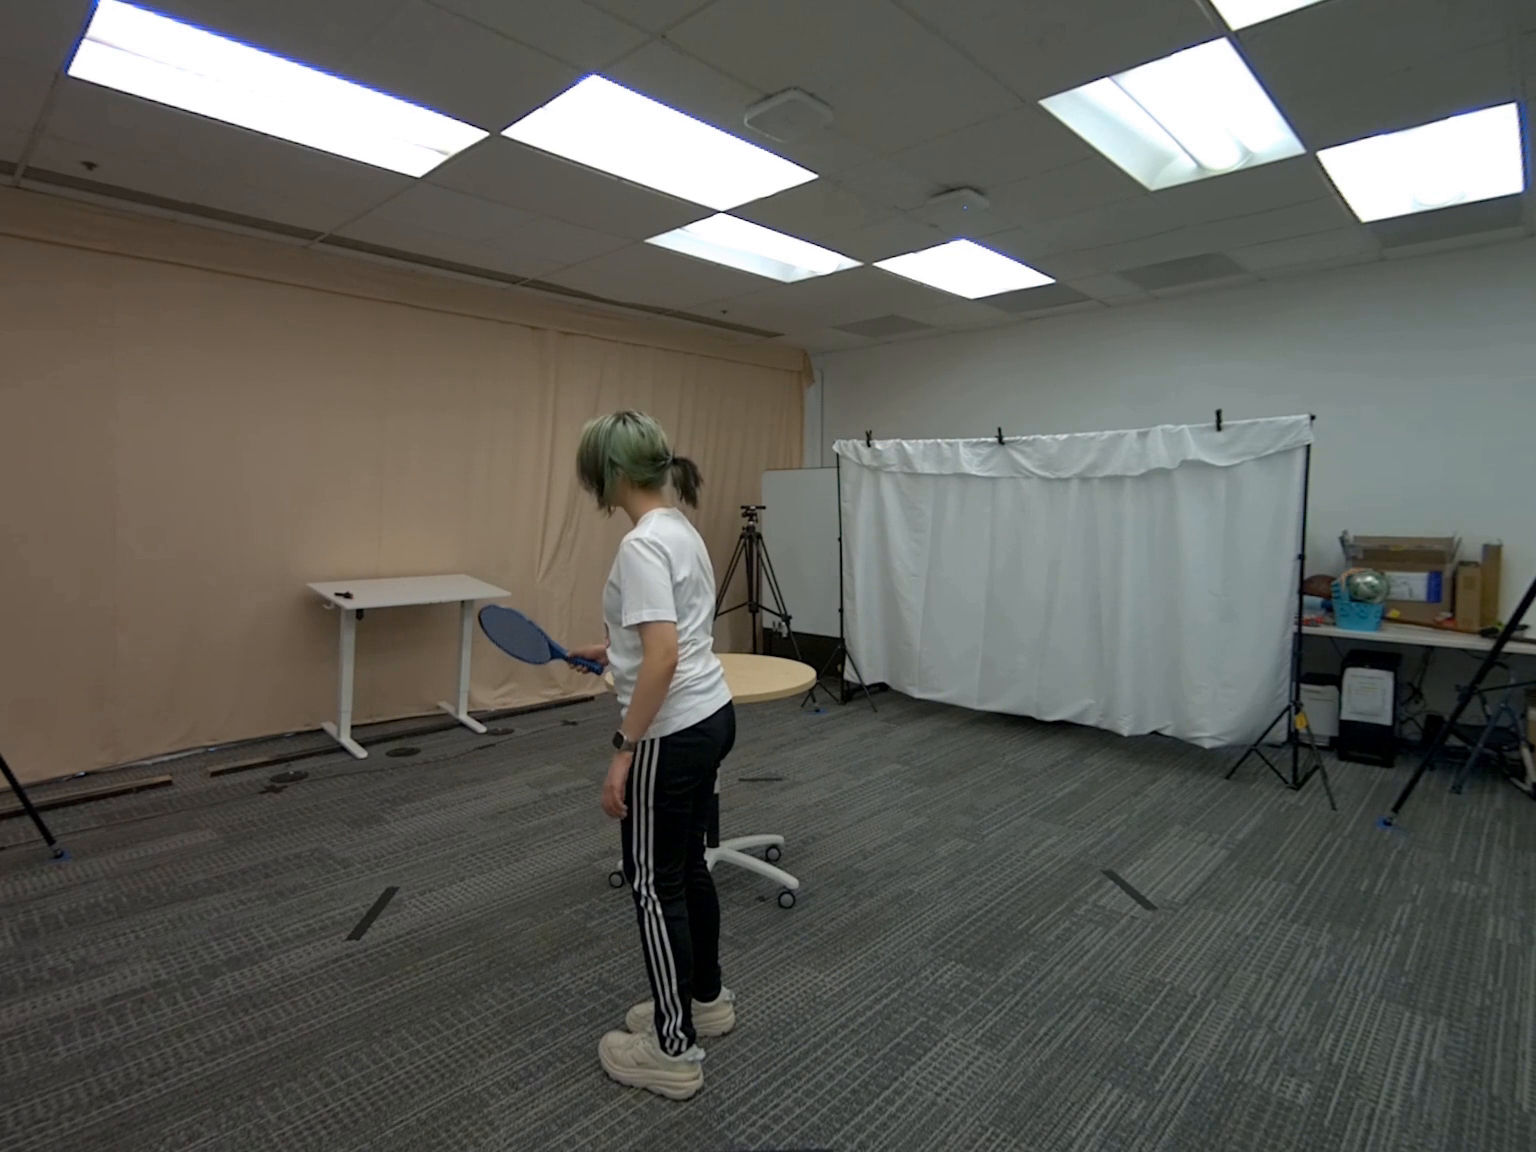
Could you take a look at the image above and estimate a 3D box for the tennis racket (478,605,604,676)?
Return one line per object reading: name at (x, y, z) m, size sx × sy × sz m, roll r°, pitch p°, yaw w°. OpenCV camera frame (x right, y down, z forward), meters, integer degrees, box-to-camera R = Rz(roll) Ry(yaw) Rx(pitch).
tennis racket at (-0.655, 0.204, 2.423) m, size 0.443 × 0.210 × 0.031 m, roll 18°, pitch 42°, yaw 19°
